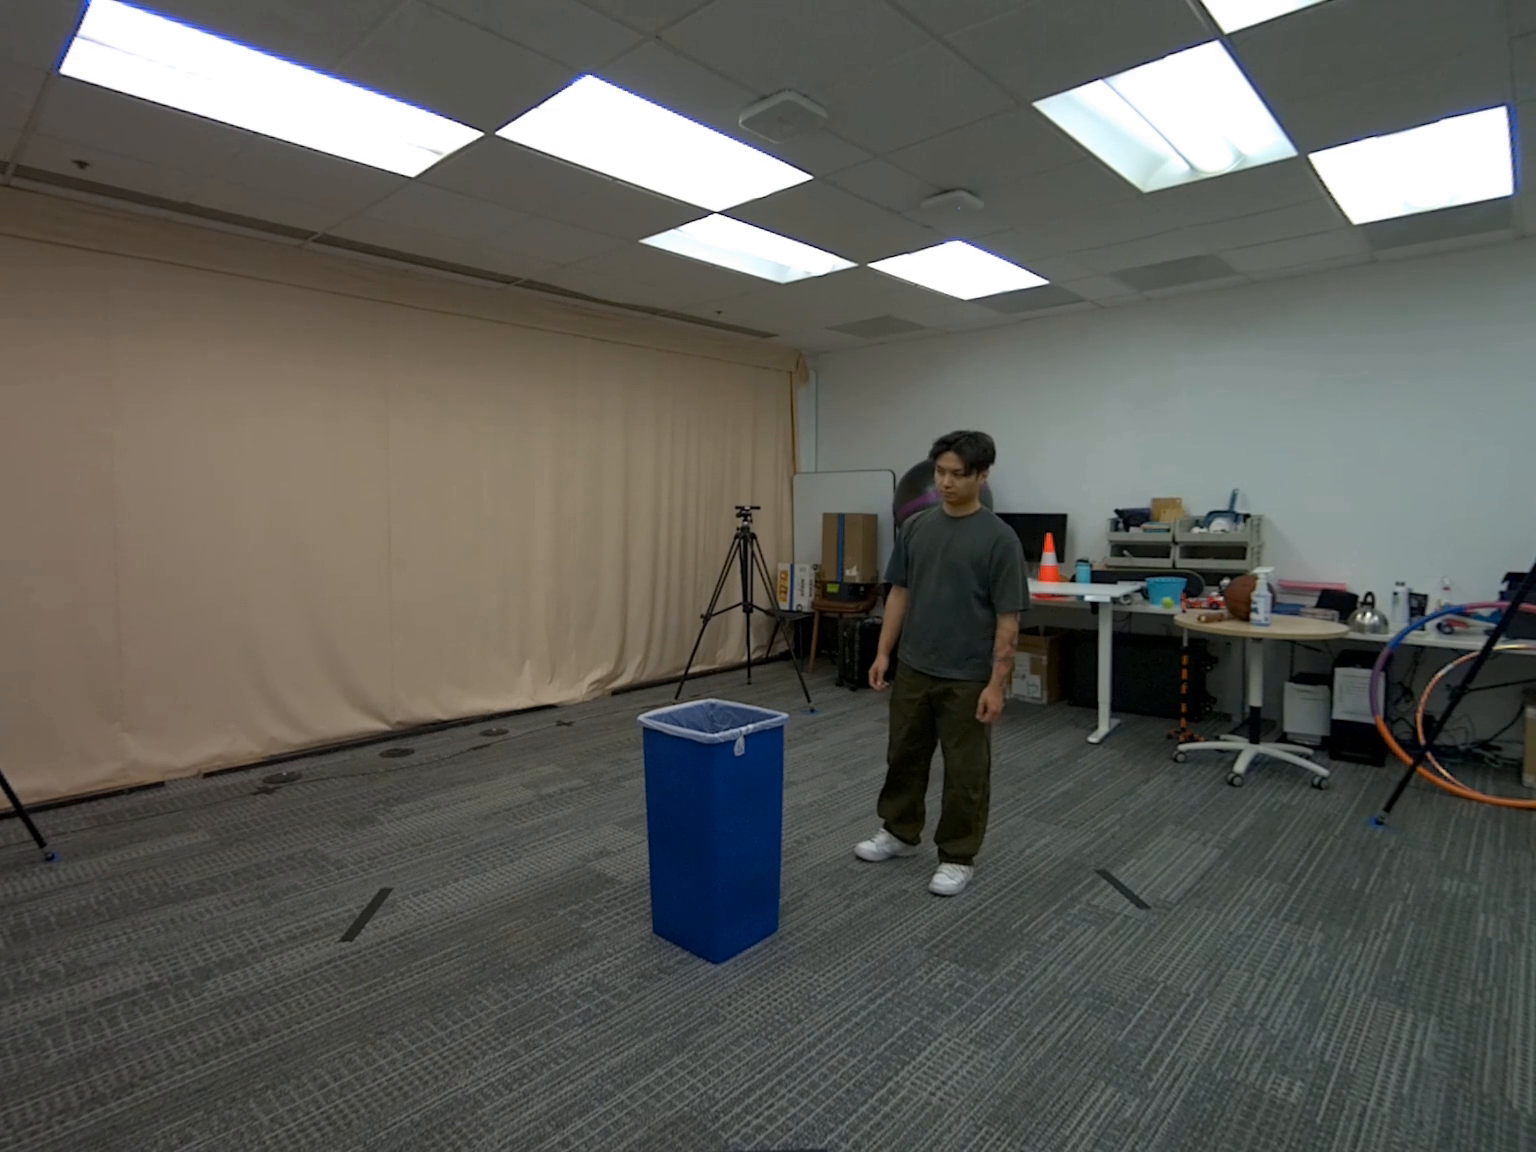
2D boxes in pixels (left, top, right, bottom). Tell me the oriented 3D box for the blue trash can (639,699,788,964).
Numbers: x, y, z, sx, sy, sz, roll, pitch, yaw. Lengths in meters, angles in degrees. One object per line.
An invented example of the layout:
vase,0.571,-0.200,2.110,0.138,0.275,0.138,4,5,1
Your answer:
blue trash can,-0.173,0.809,2.734,0.390,0.712,0.362,2,3,42
